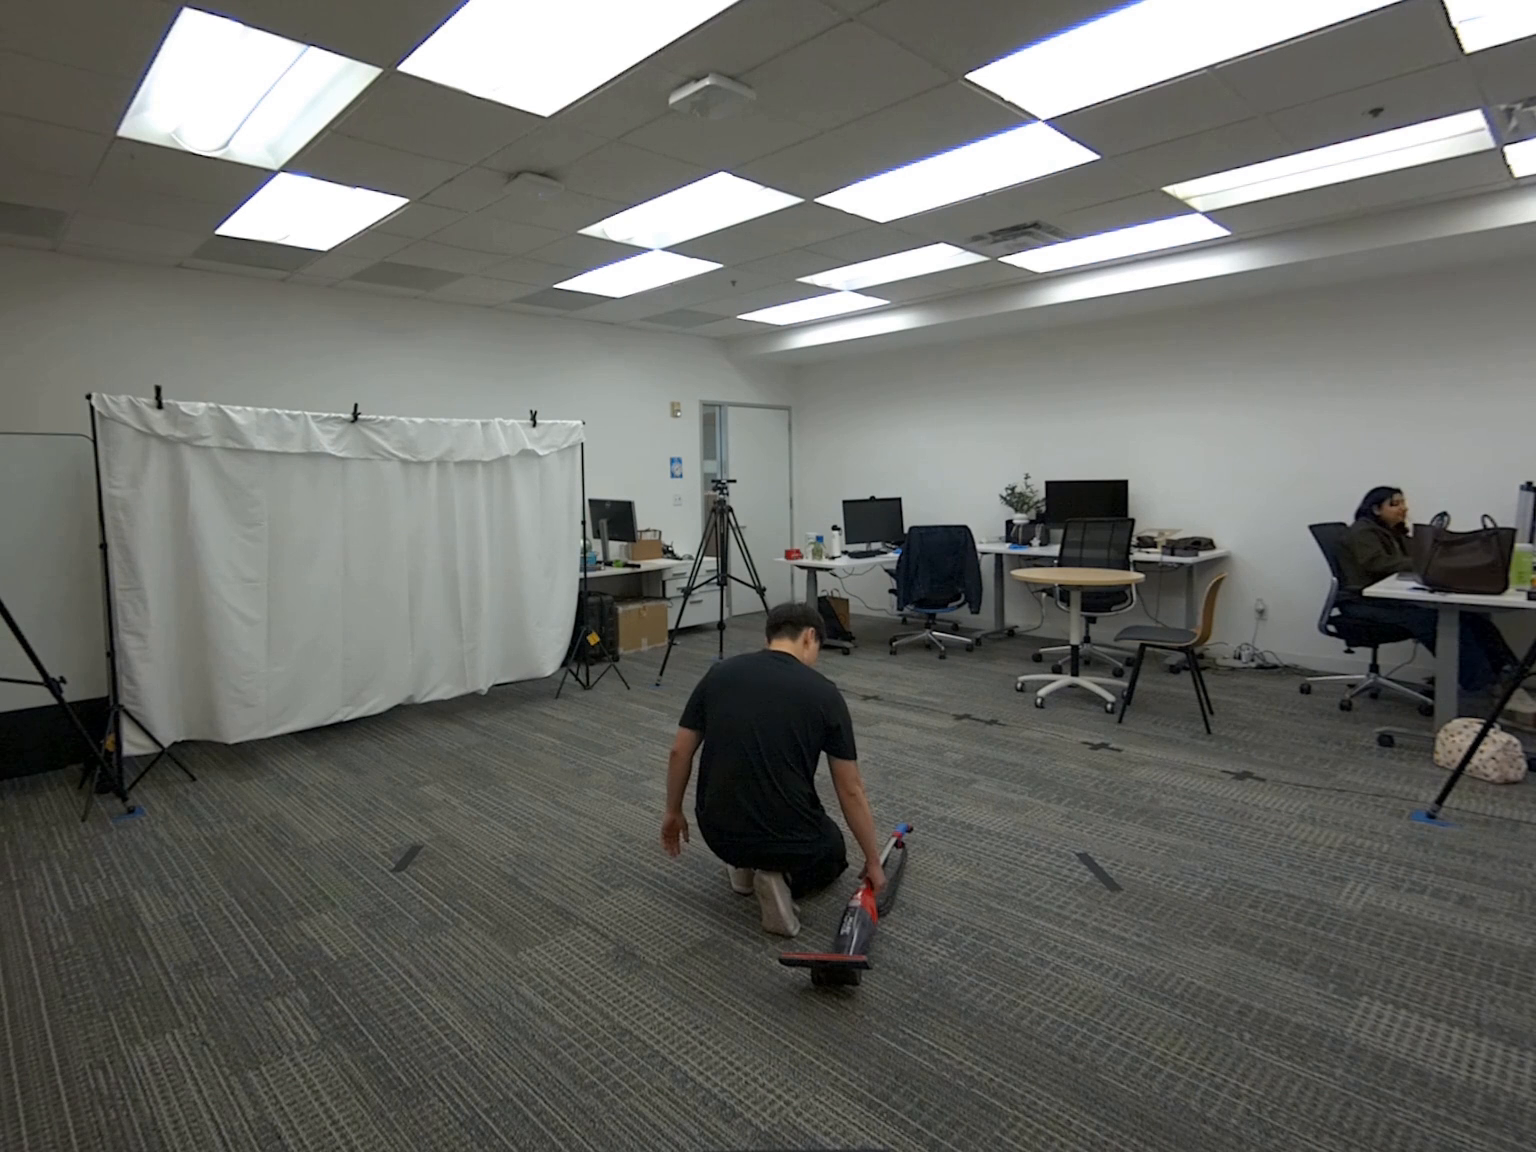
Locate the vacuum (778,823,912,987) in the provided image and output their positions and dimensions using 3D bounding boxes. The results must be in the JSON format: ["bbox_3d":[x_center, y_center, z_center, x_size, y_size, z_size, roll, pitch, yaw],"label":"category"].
[{"bbox_3d":[0.364,1.017,2.784,0.256,0.144,1.032,-12,1,21],"label":"vacuum"}]
